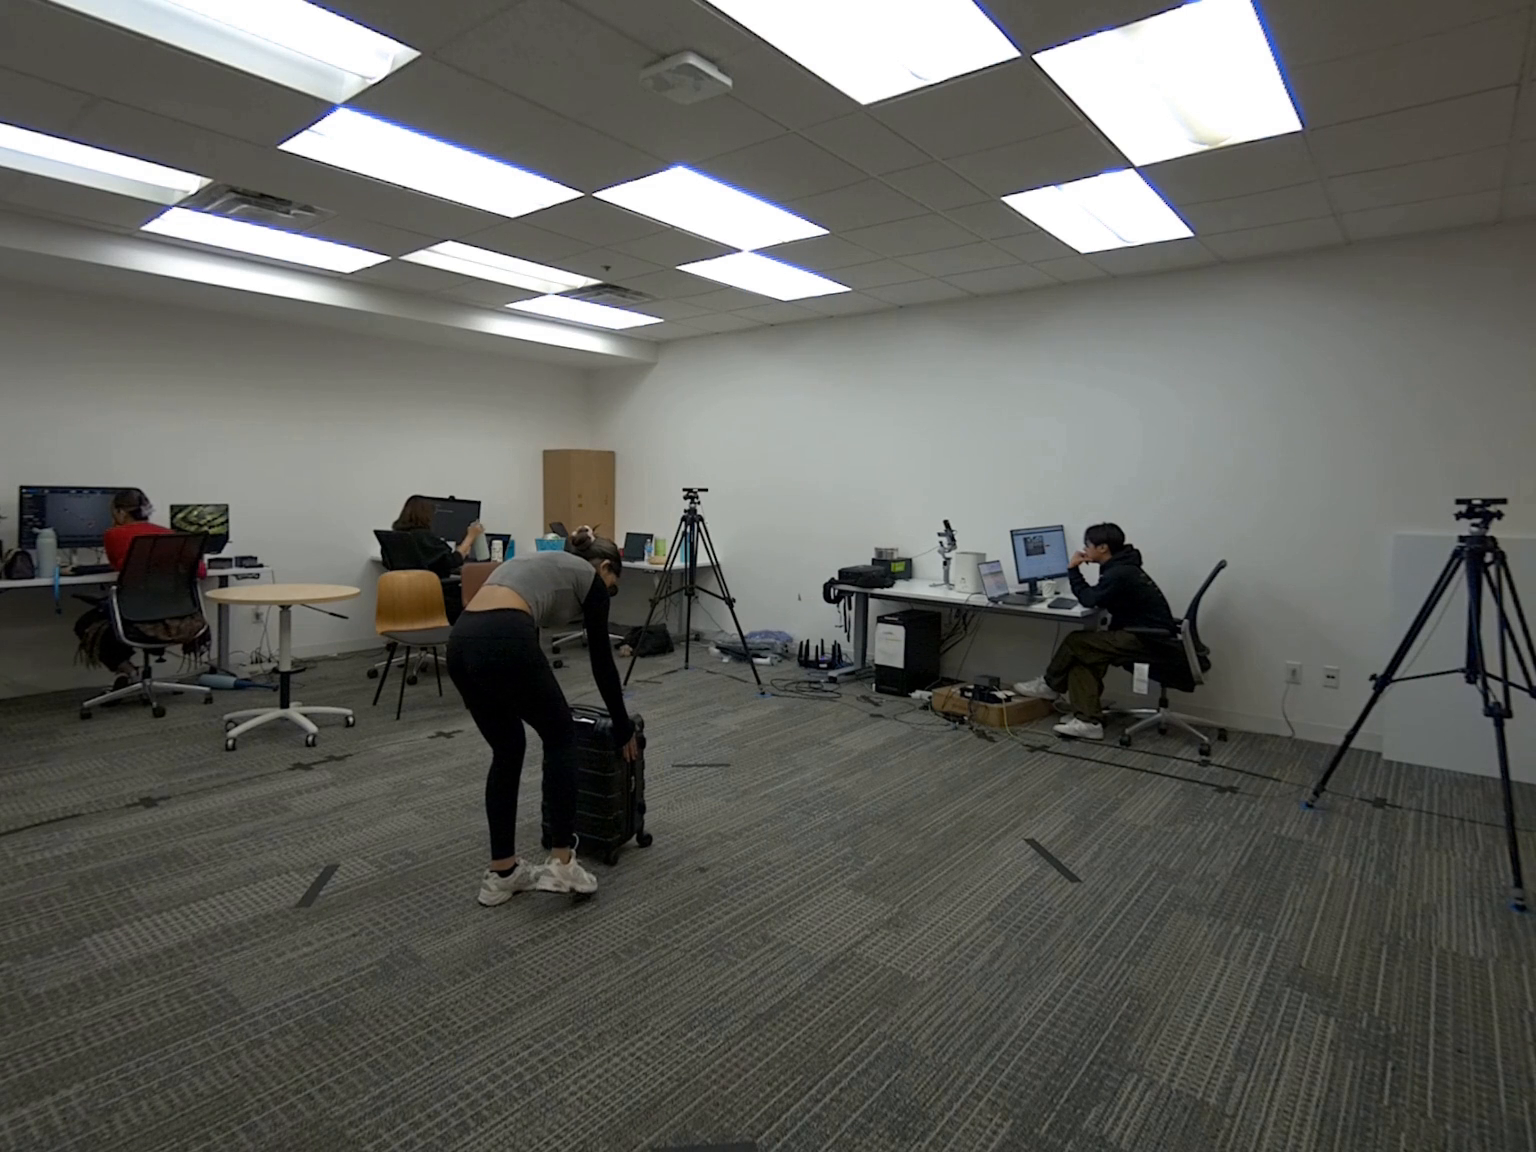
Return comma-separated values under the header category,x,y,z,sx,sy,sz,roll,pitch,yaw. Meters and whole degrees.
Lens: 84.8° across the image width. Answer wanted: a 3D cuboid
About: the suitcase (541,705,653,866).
category,x,y,z,sx,sy,sz,roll,pitch,yaw
suitcase,-0.678,0.773,3.276,0.386,0.548,0.242,2,4,28
